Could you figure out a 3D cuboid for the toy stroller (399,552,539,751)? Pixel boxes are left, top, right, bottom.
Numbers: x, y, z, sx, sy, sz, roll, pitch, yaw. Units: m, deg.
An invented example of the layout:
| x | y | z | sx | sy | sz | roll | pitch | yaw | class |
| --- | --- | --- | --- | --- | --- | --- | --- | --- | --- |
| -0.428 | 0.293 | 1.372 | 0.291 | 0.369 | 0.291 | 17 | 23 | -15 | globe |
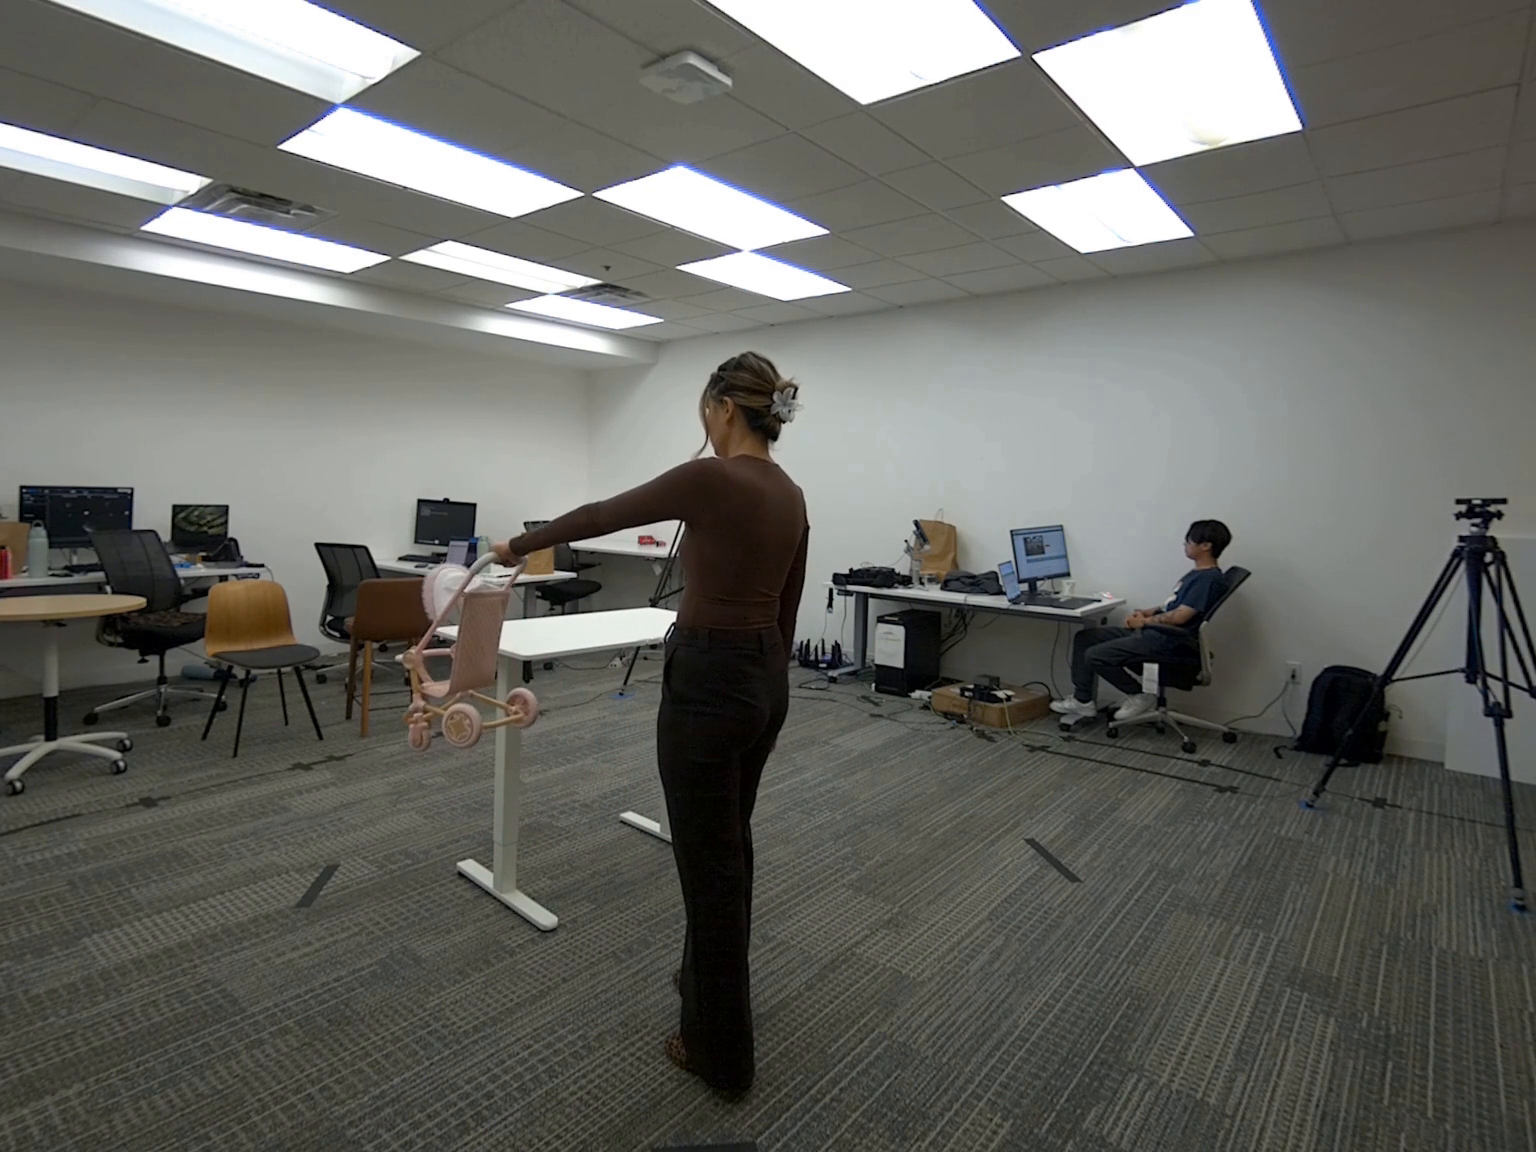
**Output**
| x | y | z | sx | sy | sz | roll | pitch | yaw | class |
| --- | --- | --- | --- | --- | --- | --- | --- | --- | --- |
| -0.820 | 0.206 | 2.231 | 0.350 | 0.535 | 0.275 | 0 | 1 | 25 | toy stroller |
